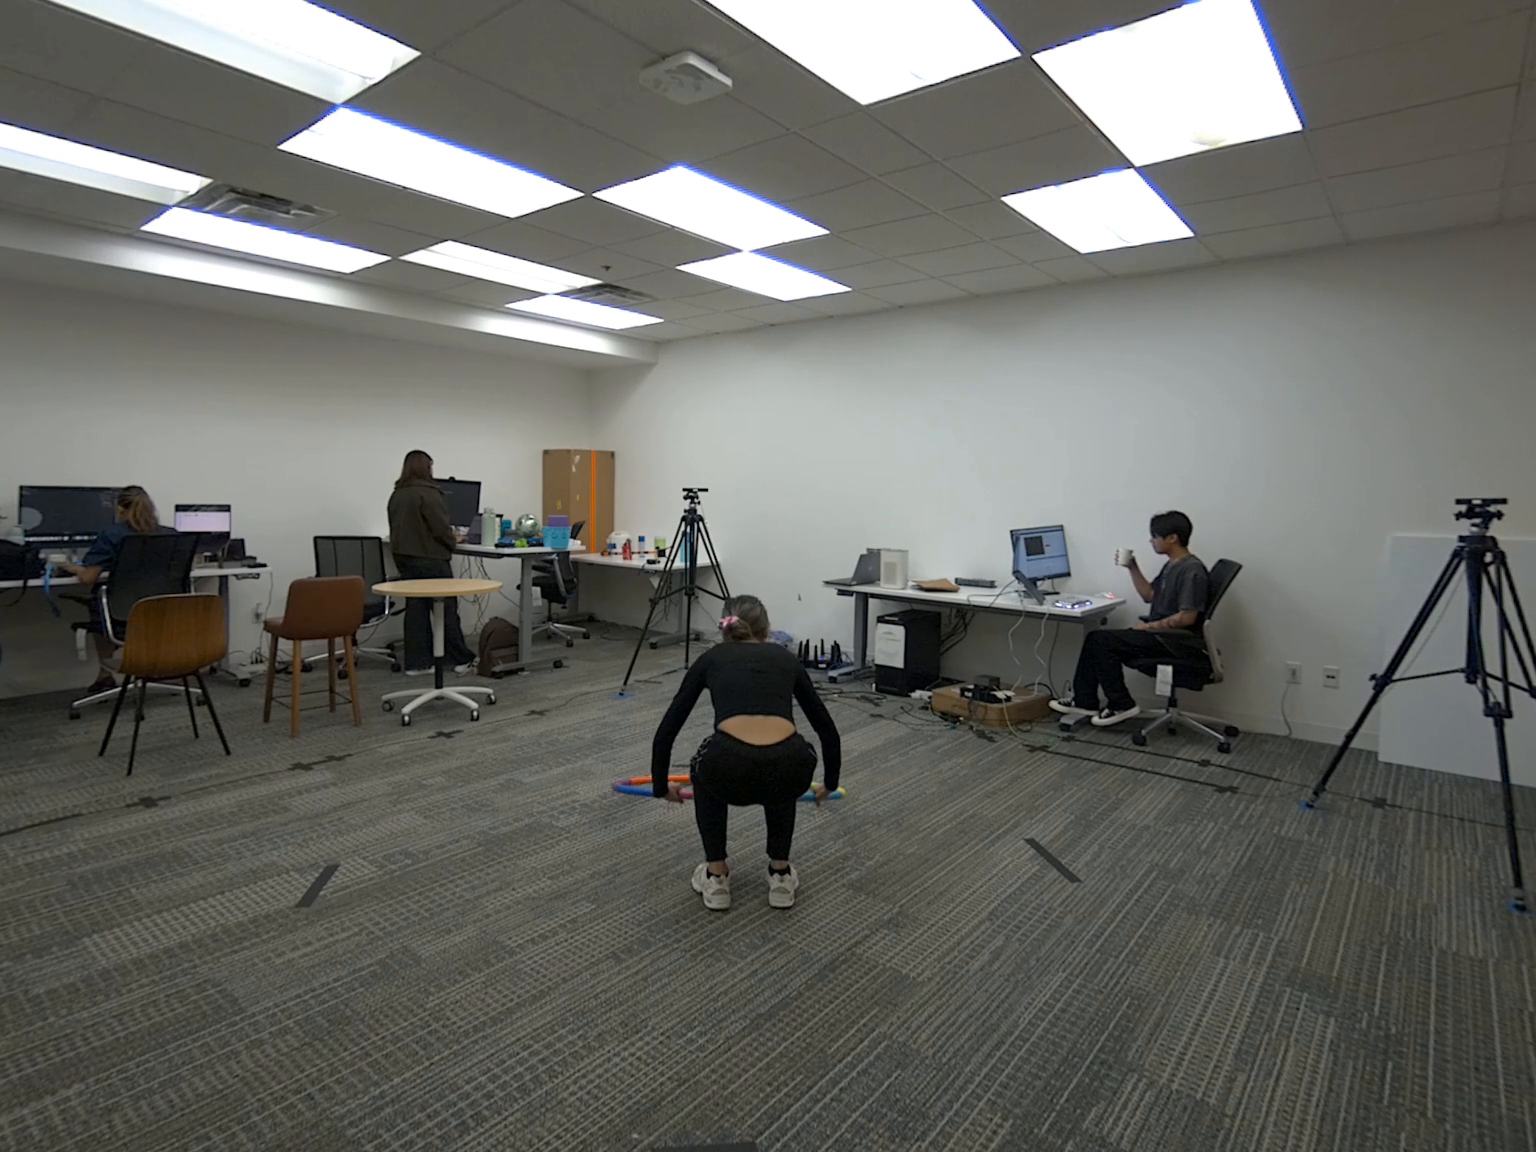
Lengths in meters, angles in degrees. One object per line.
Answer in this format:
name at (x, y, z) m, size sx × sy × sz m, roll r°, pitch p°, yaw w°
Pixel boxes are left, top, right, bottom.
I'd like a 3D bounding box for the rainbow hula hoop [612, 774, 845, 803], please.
rainbow hula hoop at (-0.189, 0.874, 3.579) m, size 0.978 × 0.036 × 0.970 m, roll 2°, pitch -9°, yaw -2°
